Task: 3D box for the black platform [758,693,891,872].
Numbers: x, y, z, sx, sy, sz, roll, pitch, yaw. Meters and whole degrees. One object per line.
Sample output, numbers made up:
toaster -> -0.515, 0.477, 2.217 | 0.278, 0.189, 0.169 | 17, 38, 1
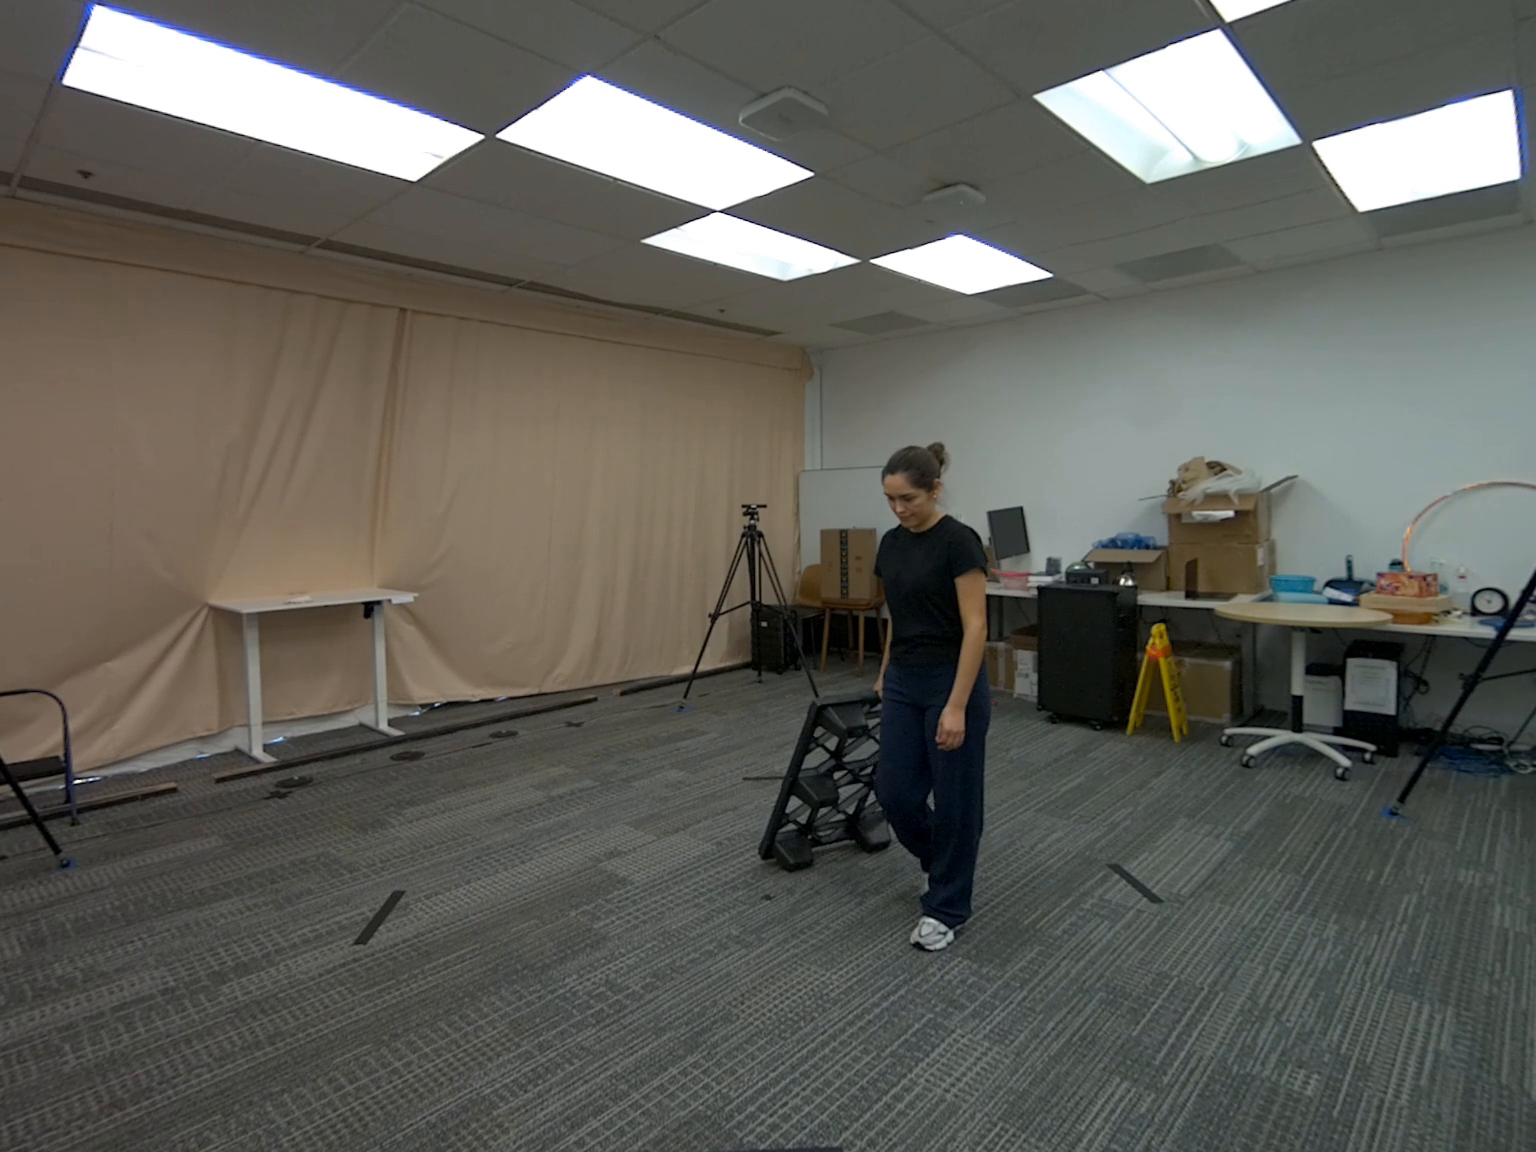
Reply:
black platform -> 0.348, 0.761, 3.154 | 0.589, 0.799, 0.148 | -2, 34, -29
